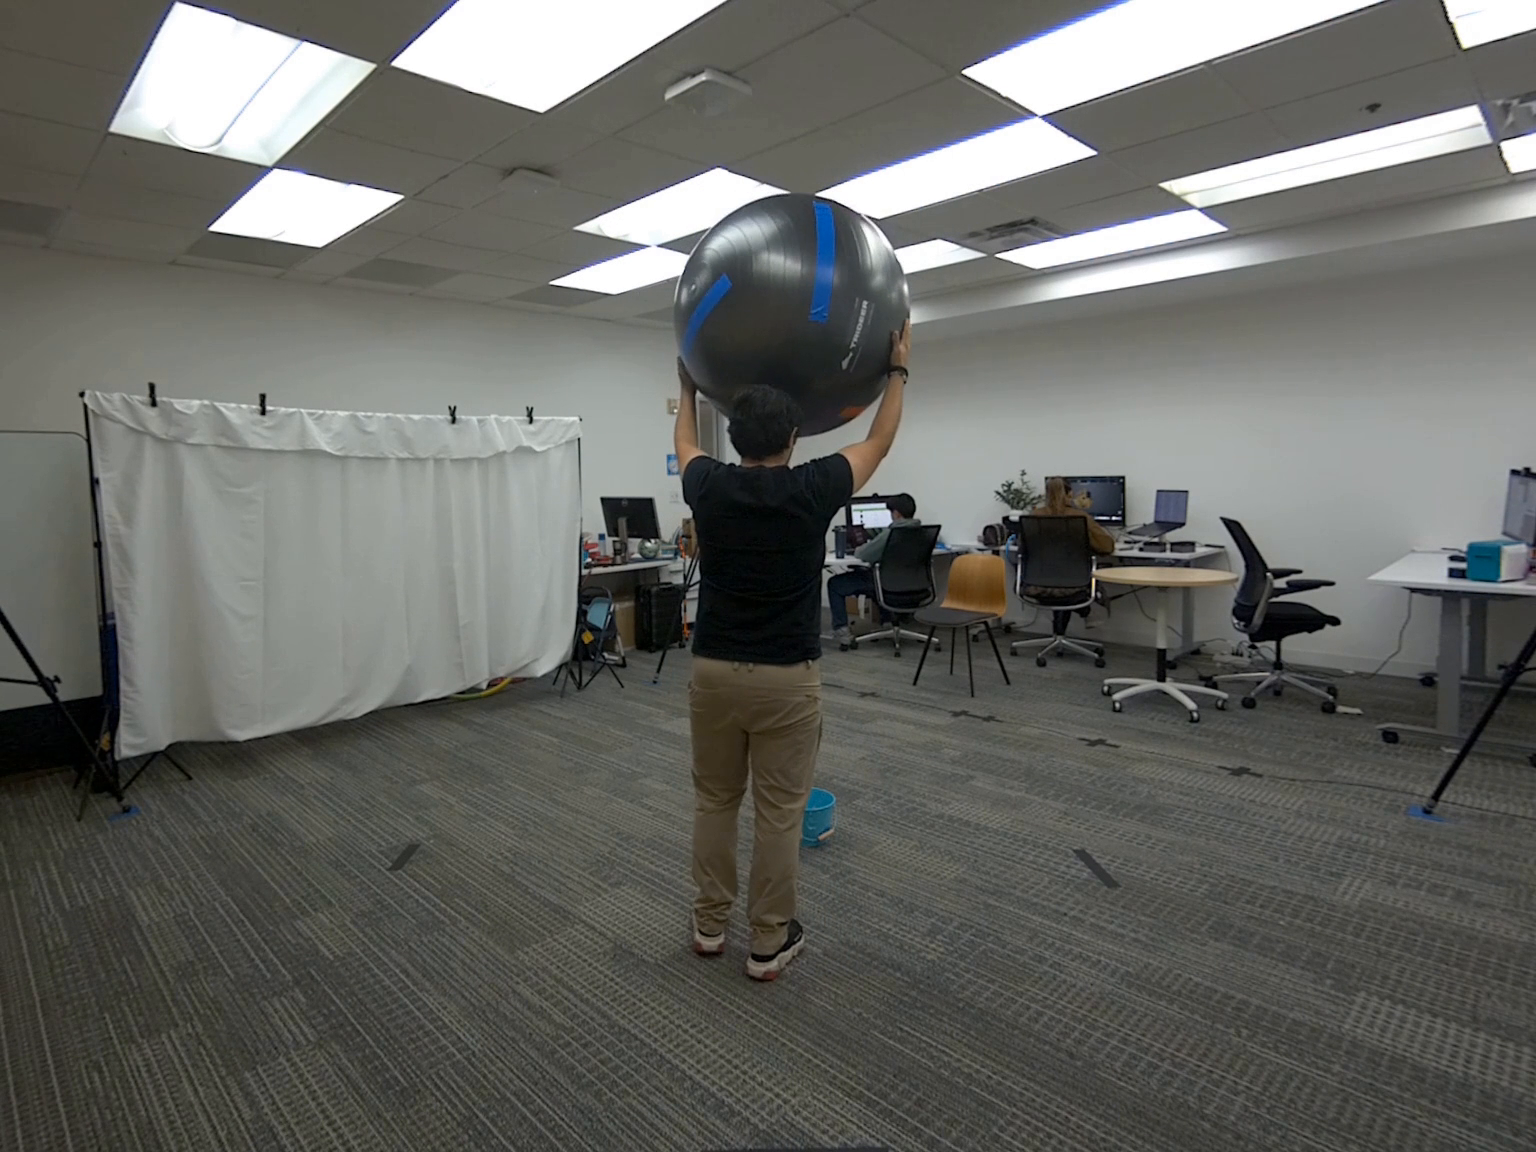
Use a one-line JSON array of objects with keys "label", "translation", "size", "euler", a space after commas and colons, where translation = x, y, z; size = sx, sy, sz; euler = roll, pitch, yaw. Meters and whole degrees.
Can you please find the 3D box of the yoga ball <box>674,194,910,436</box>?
[{"label": "yoga ball", "translation": [0.073, -0.821, 2.753], "size": [0.757, 0.755, 0.762], "euler": [-1, 5, -2]}]
